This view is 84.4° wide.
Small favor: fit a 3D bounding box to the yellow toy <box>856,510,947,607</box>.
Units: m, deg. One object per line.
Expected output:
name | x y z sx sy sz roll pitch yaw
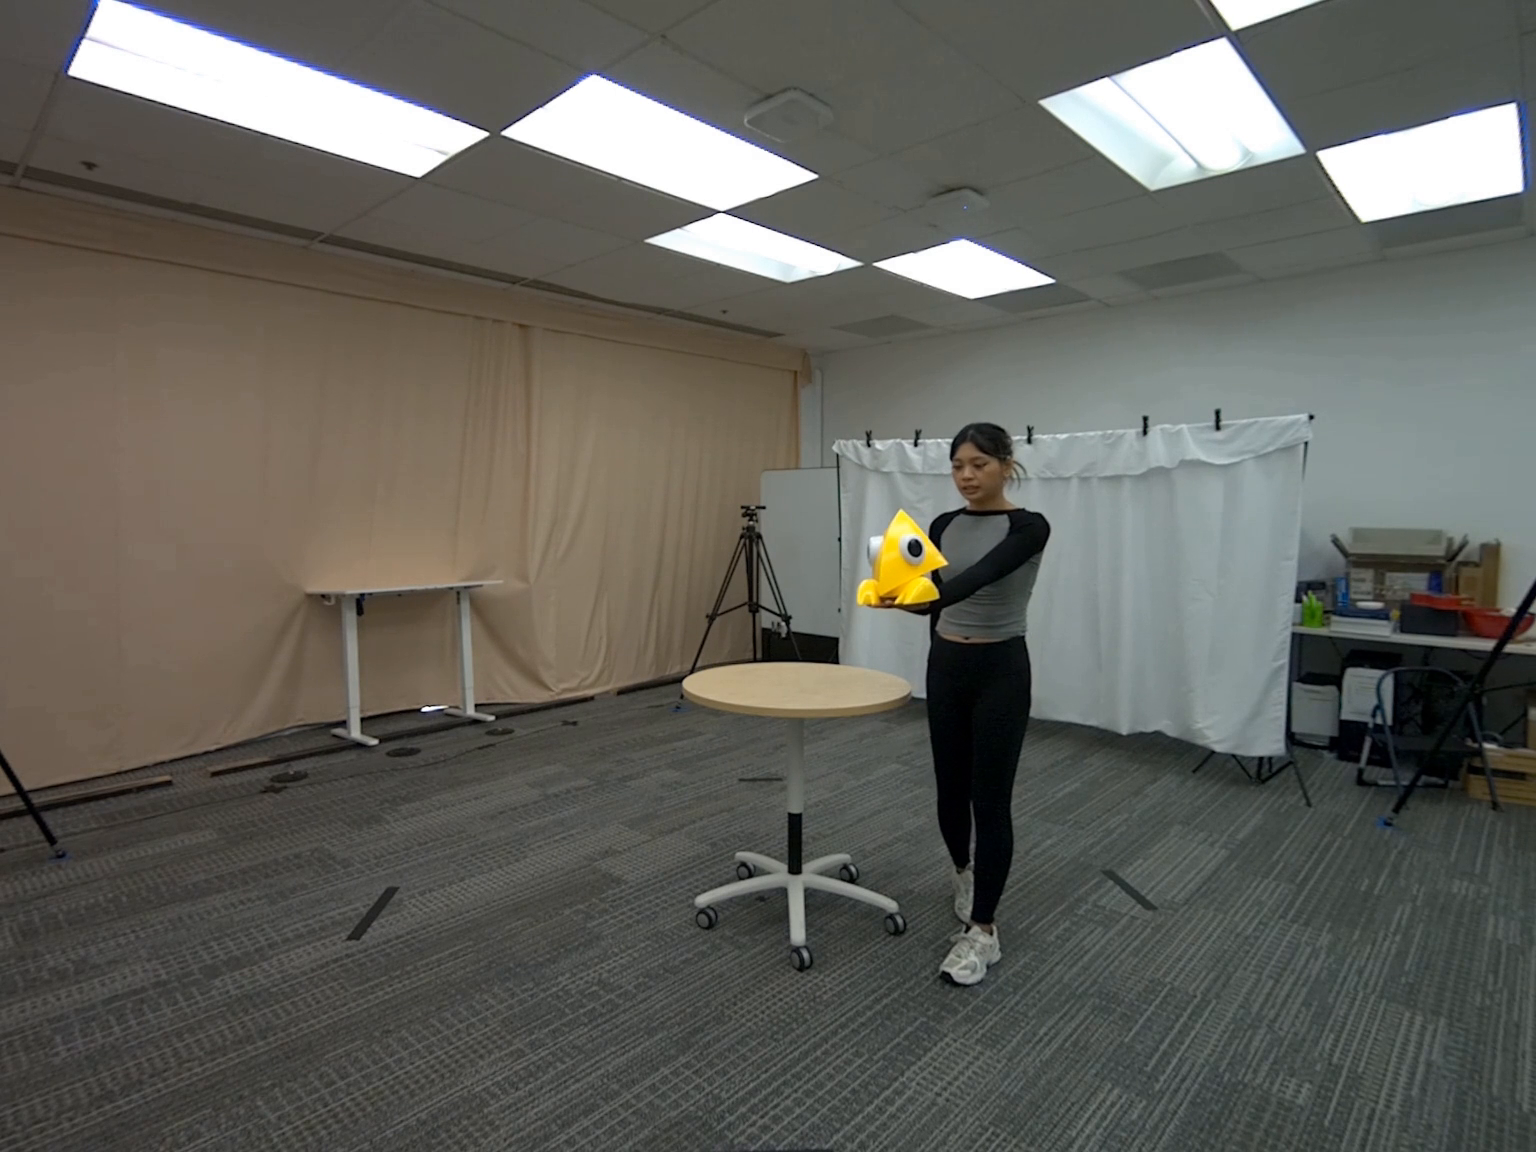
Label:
yellow toy | 0.334 -0.053 2.142 0.211 0.230 0.187 -4 3 37
